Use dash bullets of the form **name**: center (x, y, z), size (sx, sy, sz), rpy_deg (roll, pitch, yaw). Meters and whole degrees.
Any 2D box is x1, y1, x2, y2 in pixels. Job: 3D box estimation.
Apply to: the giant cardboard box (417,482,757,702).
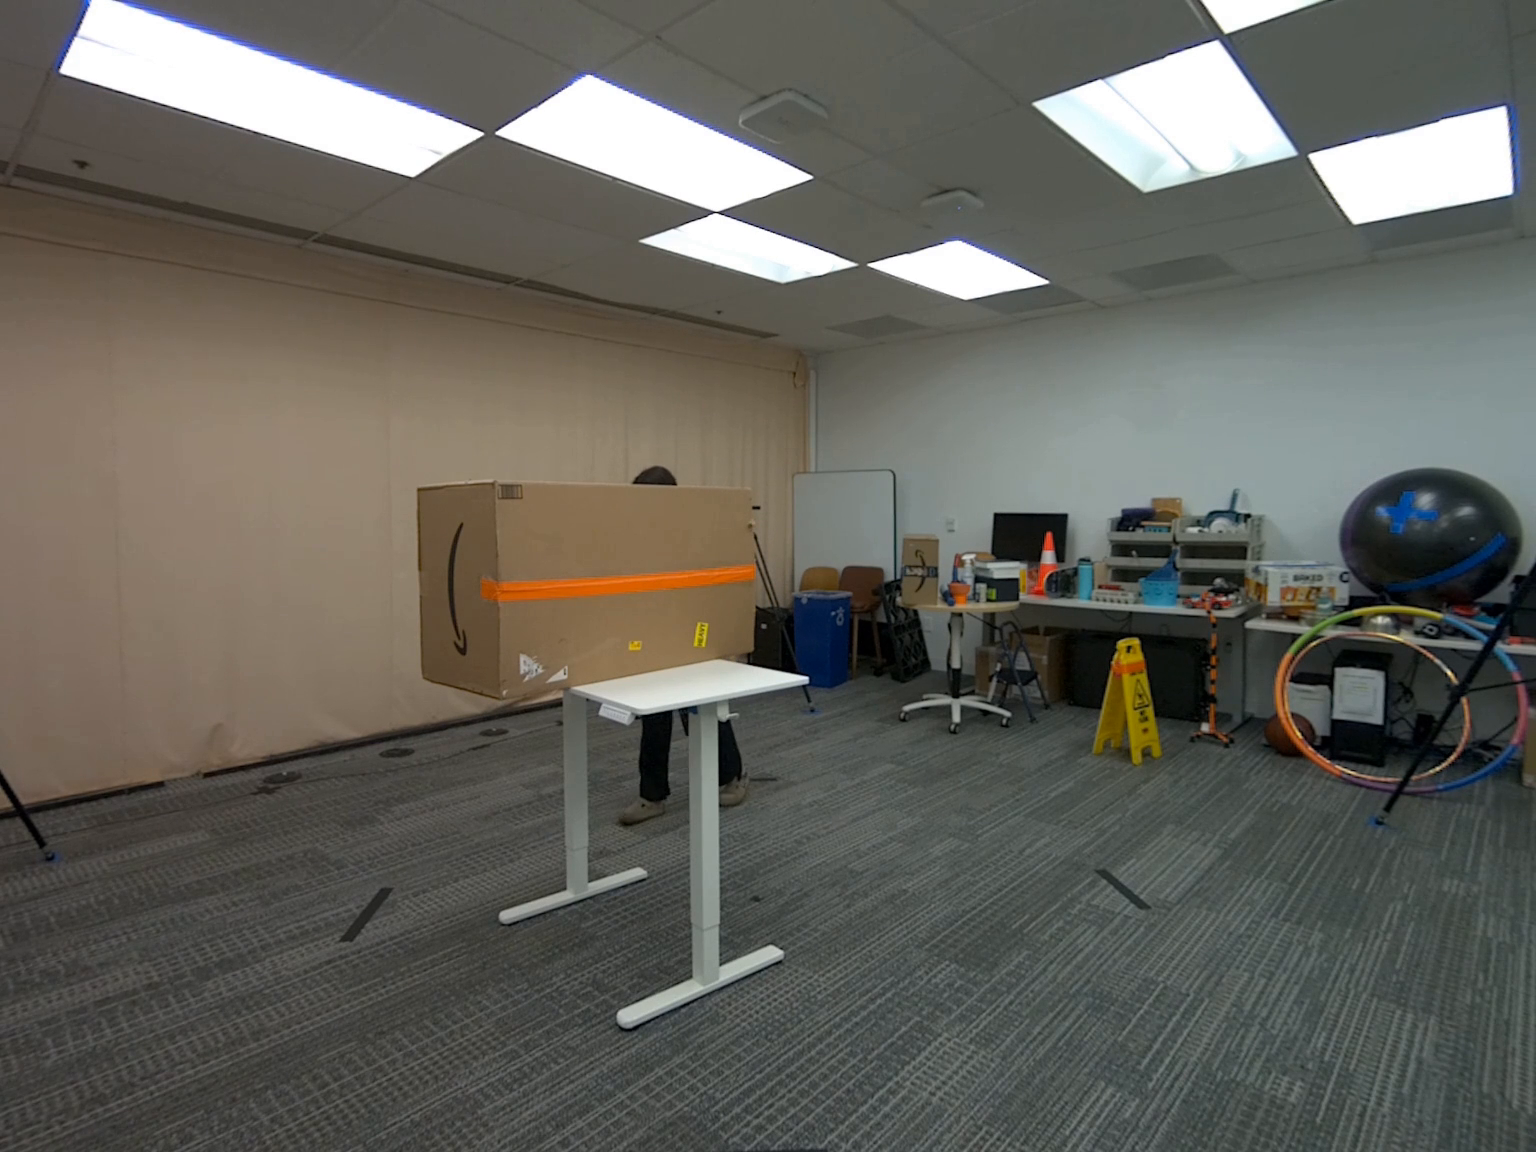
- **giant cardboard box**: center (-0.533, 0.002, 2.699), size (0.440, 0.576, 0.994), rpy_deg (3, 5, 42)
